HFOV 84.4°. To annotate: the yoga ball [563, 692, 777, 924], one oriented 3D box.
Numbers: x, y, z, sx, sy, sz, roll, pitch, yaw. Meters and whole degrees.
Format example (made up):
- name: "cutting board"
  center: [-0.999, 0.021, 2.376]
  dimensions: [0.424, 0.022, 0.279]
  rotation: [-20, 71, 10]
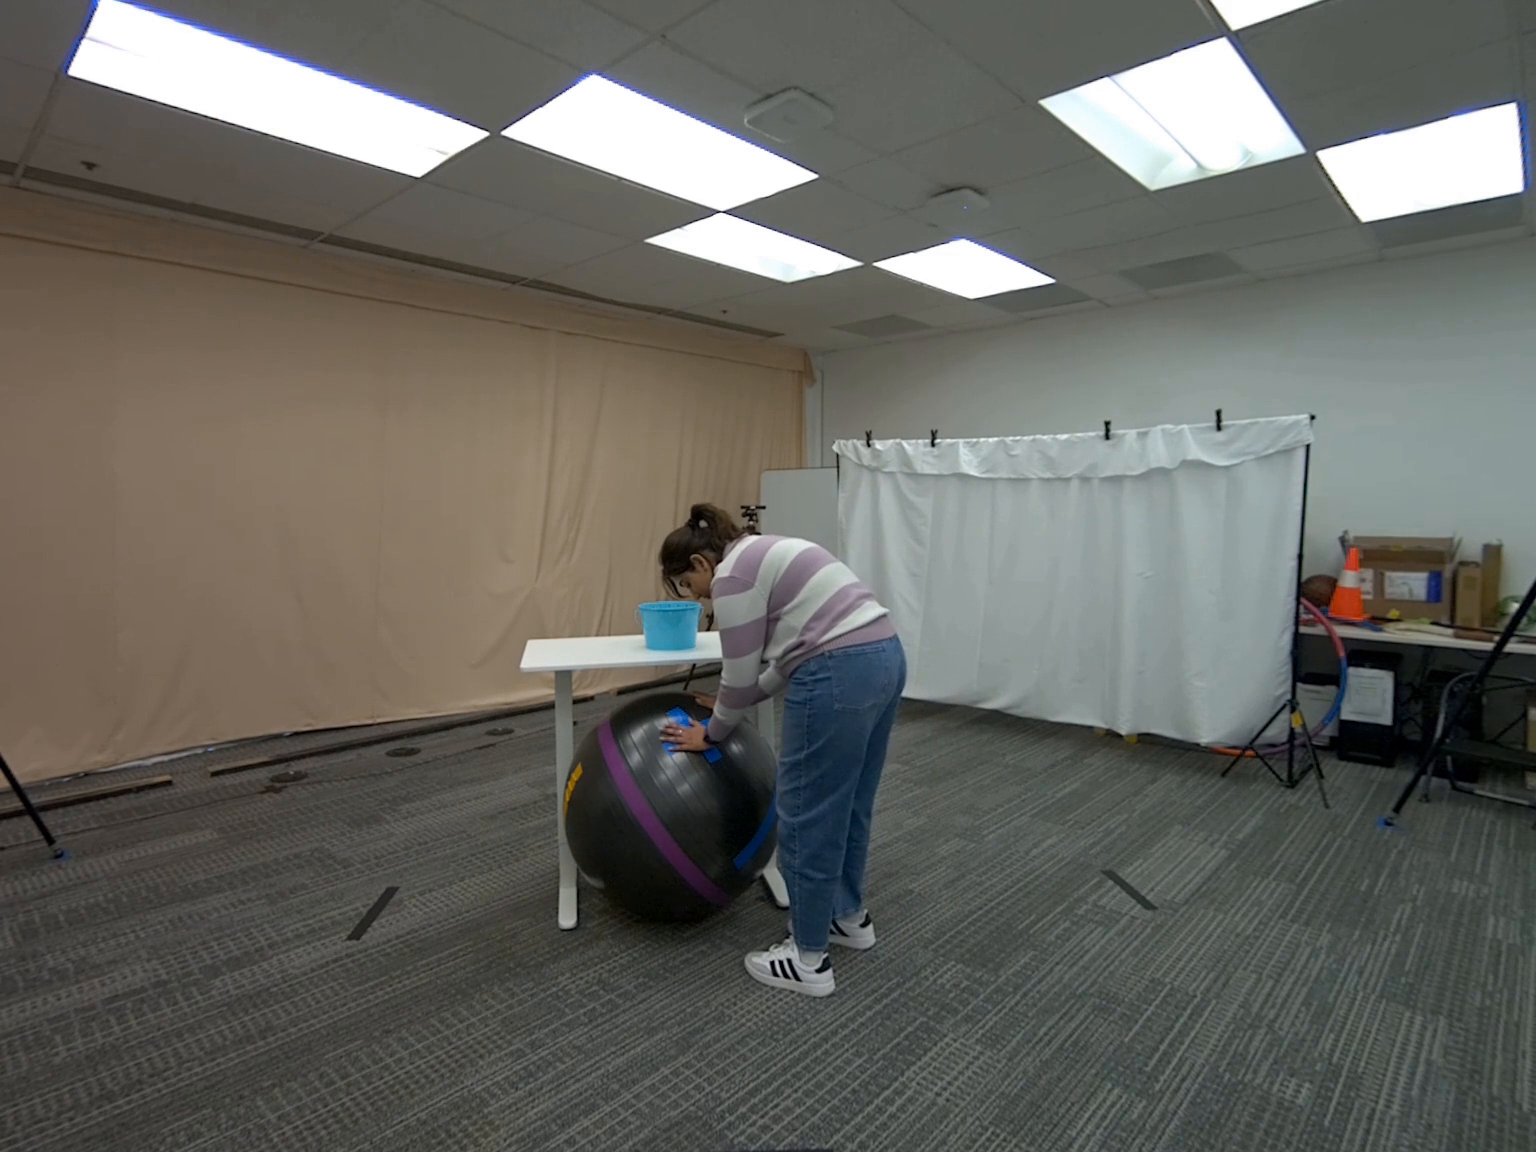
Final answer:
- name: "yoga ball"
  center: [-0.336, 0.787, 2.912]
  dimensions: [0.757, 0.756, 0.760]
  rotation: [0, 4, -2]
